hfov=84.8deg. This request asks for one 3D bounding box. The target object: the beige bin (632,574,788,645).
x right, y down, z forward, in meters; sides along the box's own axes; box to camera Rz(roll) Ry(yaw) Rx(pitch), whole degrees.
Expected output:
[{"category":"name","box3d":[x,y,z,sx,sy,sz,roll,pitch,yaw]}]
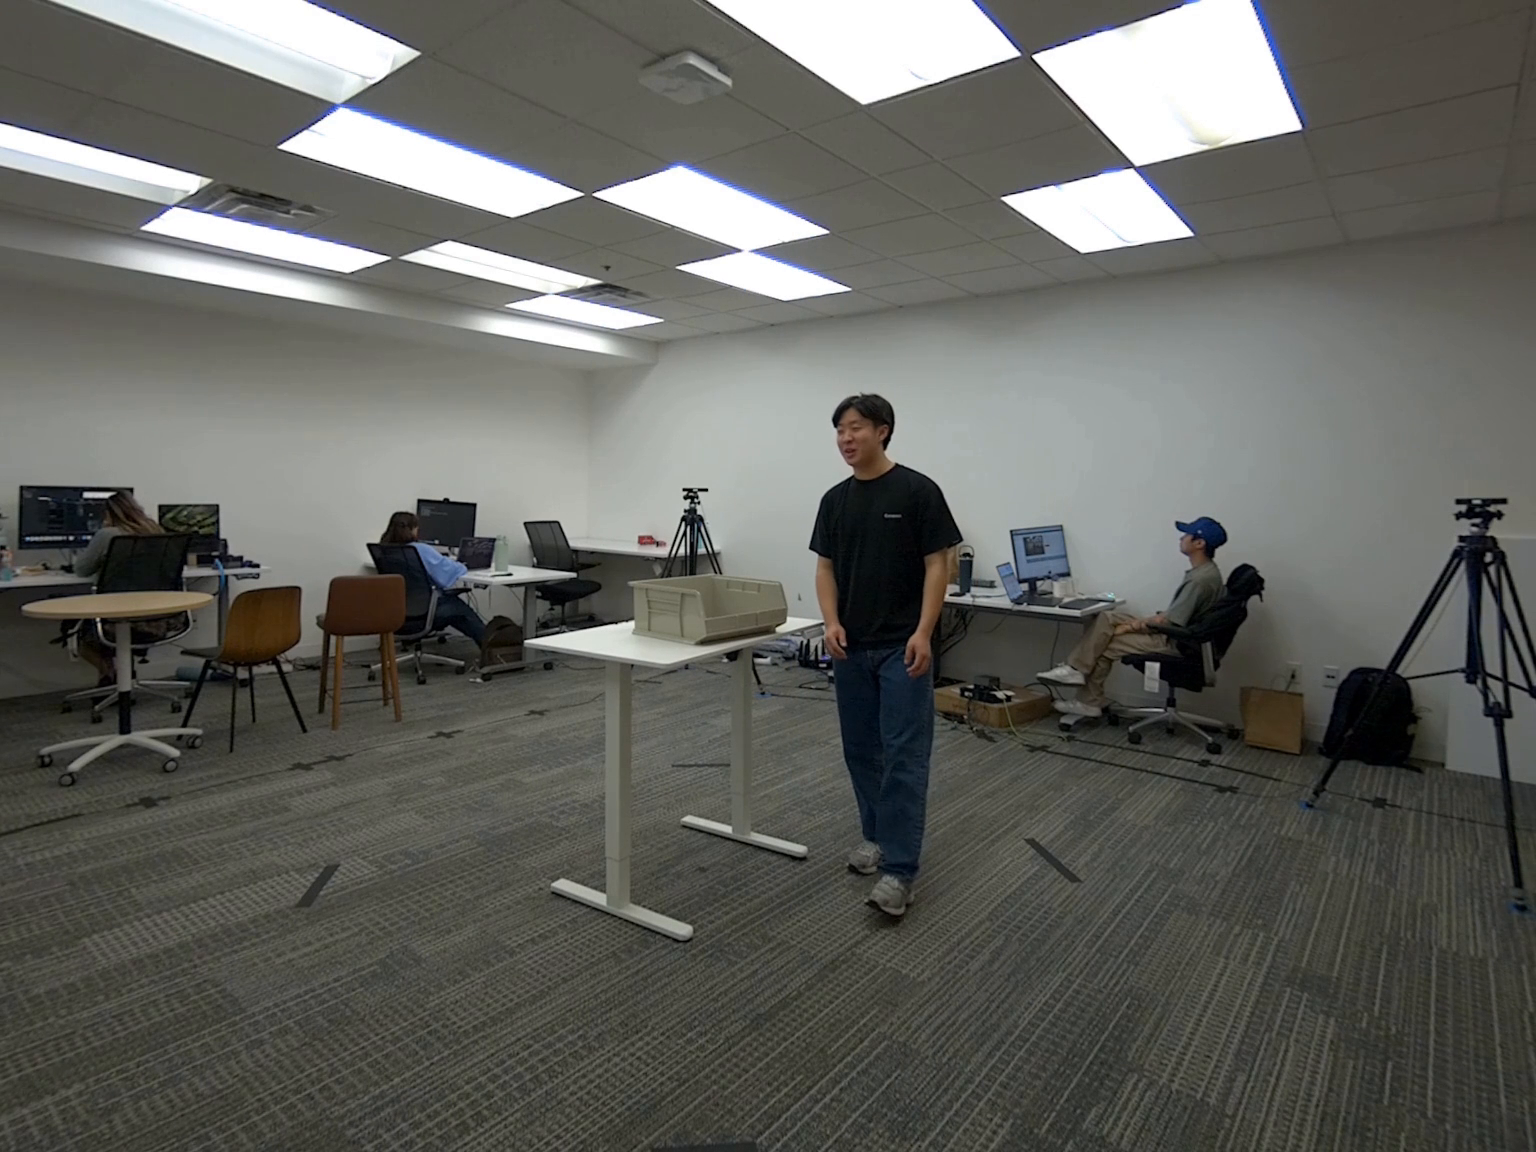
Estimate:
[{"category":"beige bin","box3d":[-0.218,0.109,2.984,0.390,0.188,0.410,4,6,43]}]
